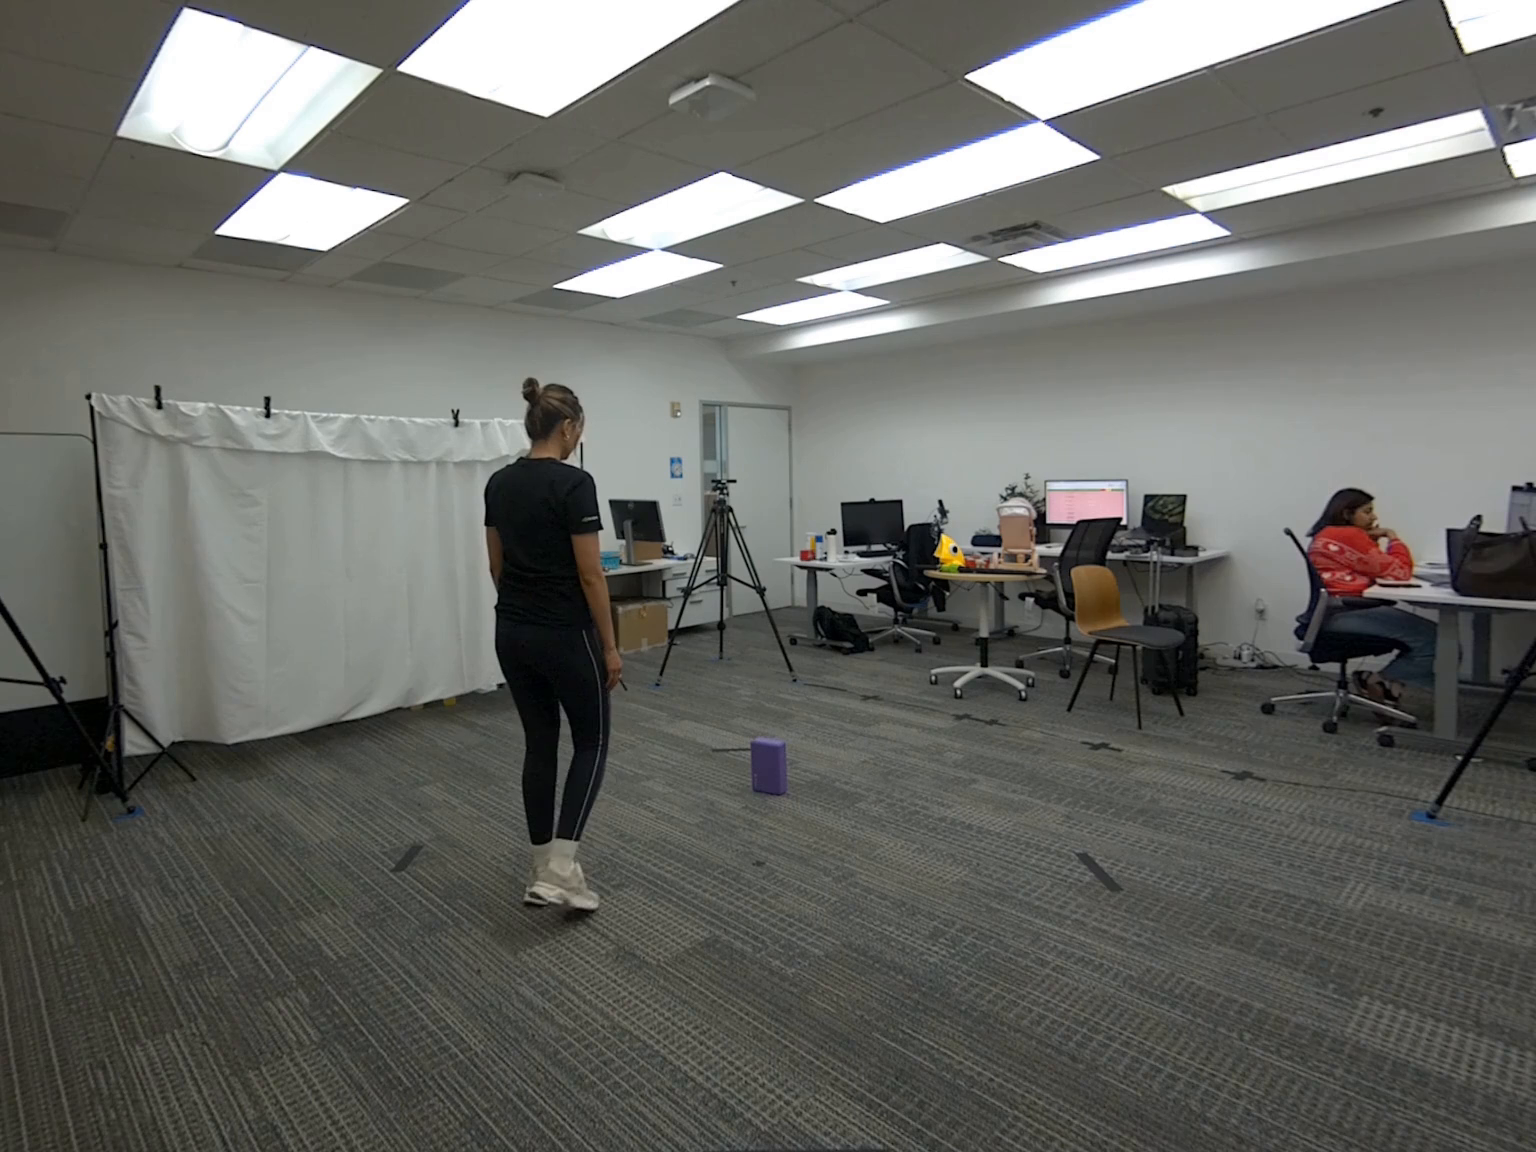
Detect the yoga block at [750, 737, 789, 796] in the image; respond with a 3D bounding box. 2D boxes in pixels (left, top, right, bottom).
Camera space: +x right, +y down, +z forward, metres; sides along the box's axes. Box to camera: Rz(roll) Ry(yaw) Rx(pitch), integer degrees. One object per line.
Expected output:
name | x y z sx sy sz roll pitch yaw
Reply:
yoga block | 0.005 0.849 3.826 0.153 0.228 0.075 2 6 31
